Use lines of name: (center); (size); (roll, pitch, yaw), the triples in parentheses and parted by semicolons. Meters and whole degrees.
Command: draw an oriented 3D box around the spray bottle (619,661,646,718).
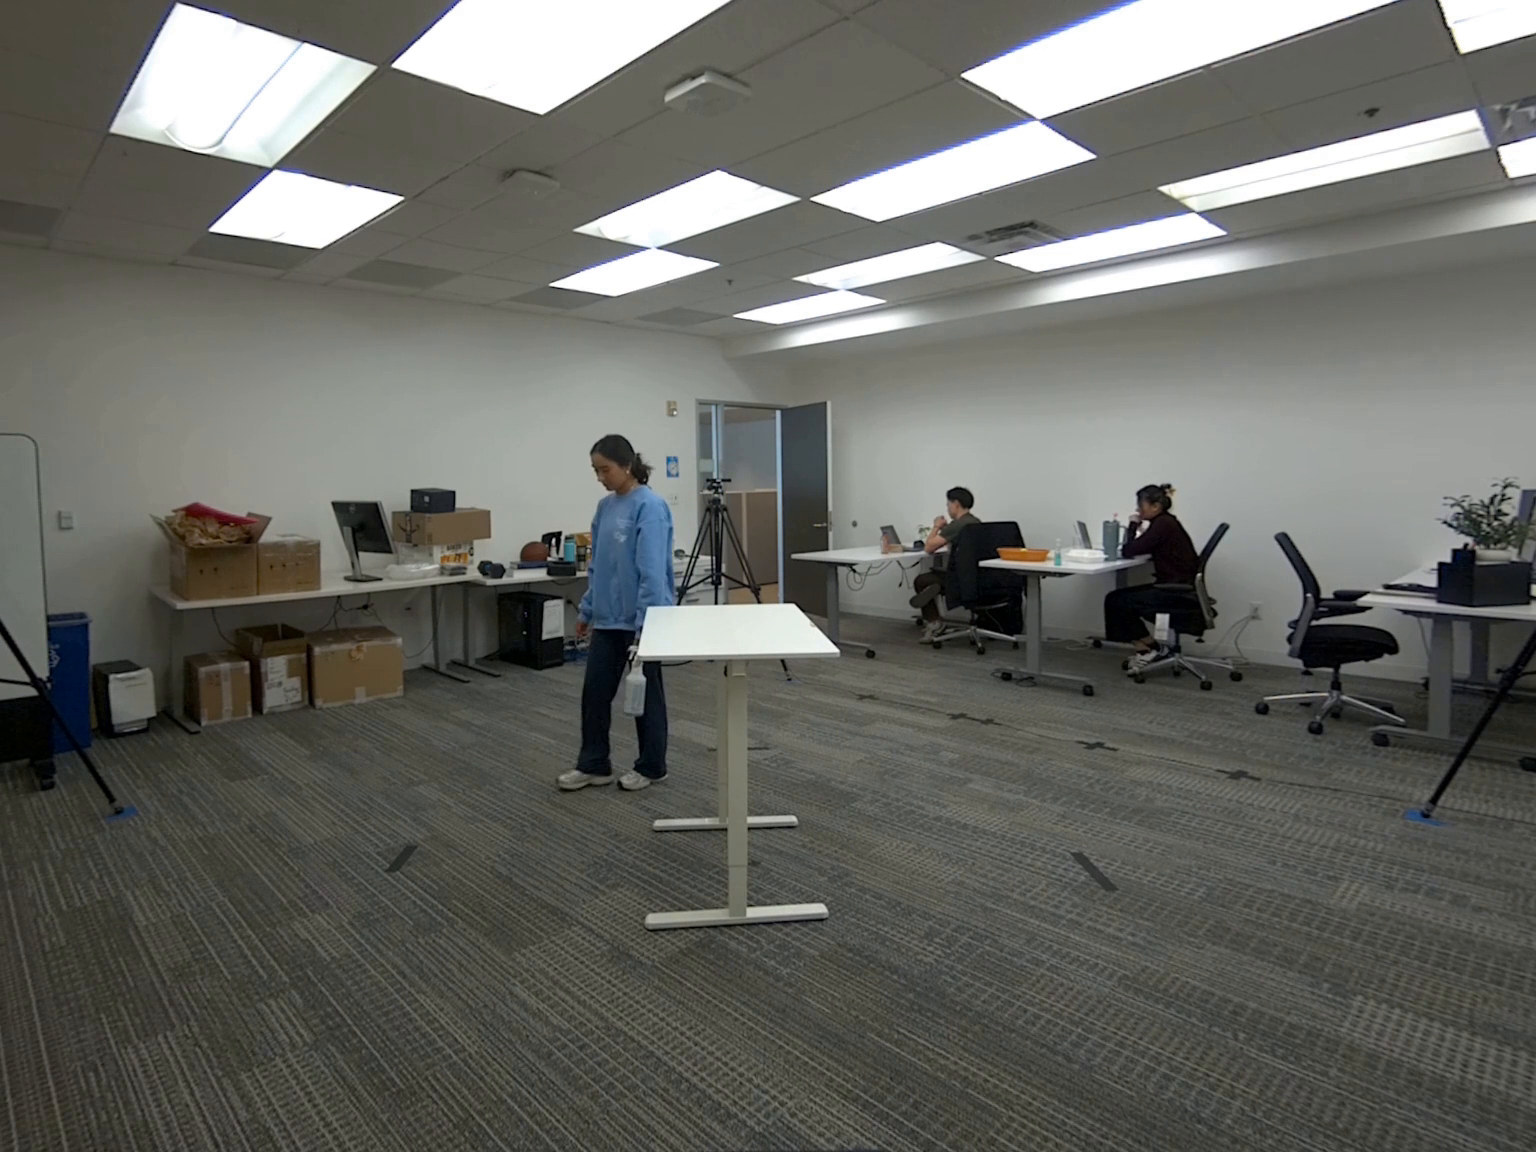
spray bottle: (-0.566, 0.453, 3.667); (0.088, 0.297, 0.089); (0, 2, -23)
